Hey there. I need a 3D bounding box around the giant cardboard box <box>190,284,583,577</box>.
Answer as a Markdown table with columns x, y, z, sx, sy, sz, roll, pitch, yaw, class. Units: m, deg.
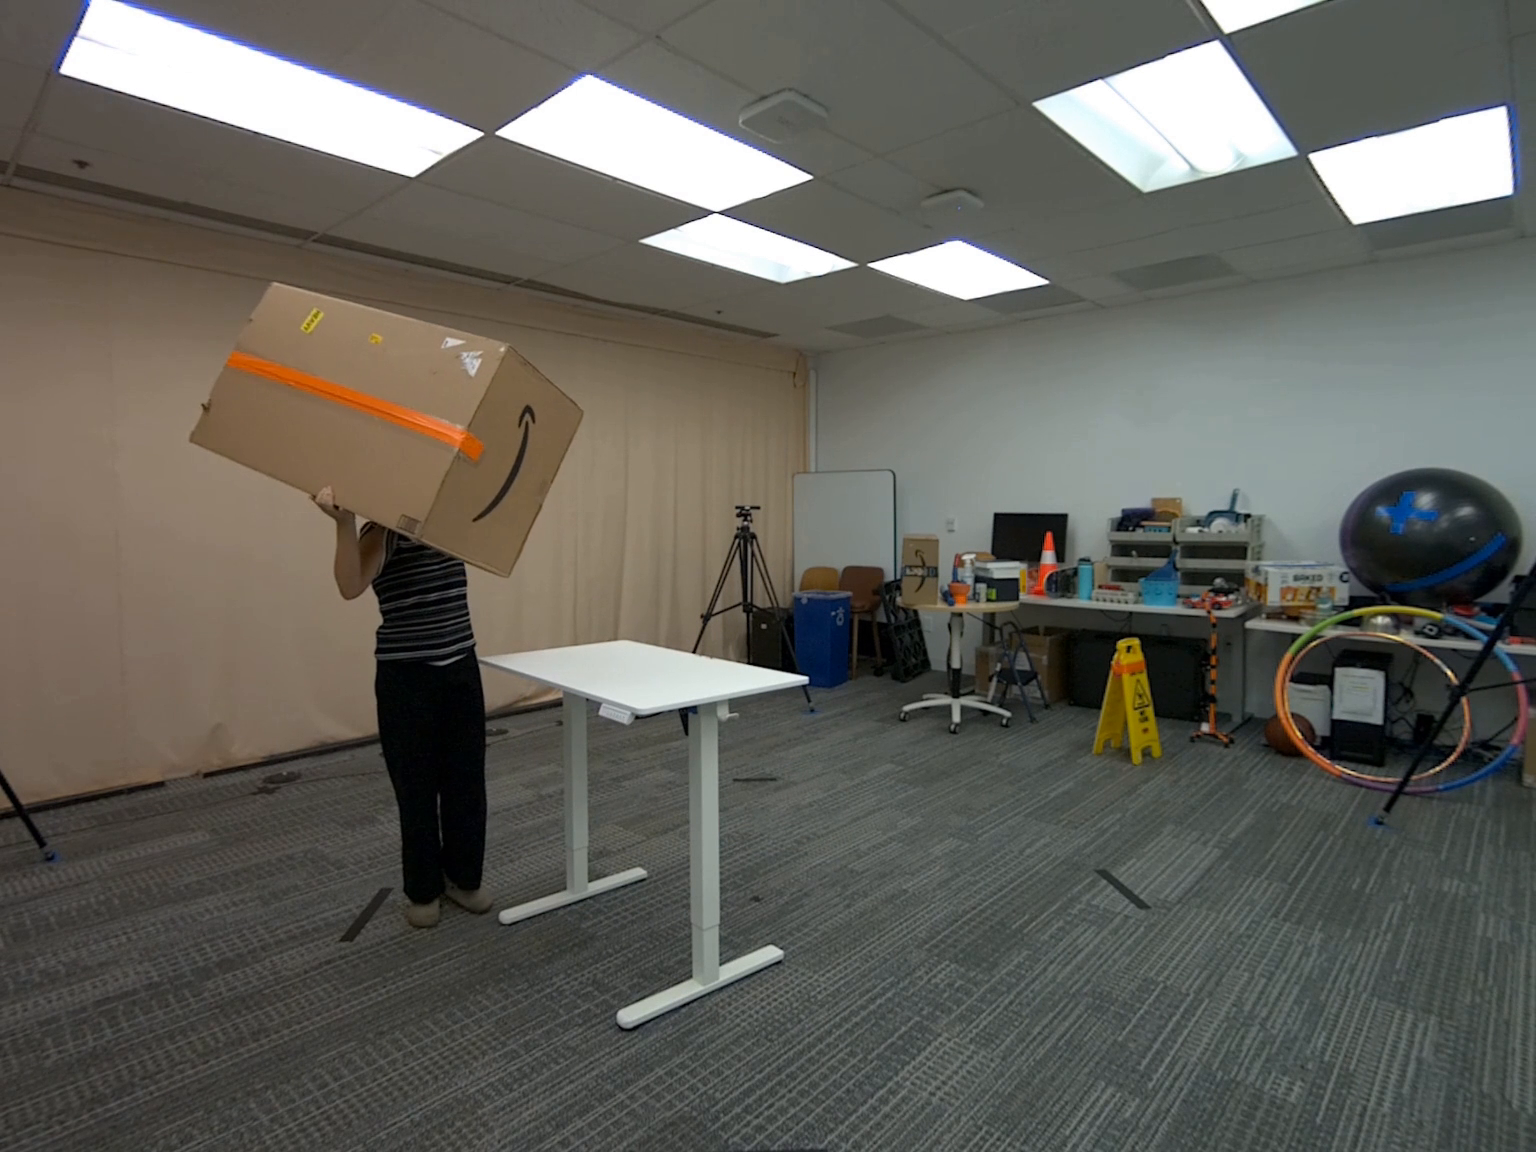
| x | y | z | sx | sy | sz | roll | pitch | yaw | class |
| --- | --- | --- | --- | --- | --- | --- | --- | --- | --- |
| -1.185 | -0.463 | 2.618 | 1.055 | 0.578 | 0.414 | 20 | -9 | 25 | giant cardboard box |
